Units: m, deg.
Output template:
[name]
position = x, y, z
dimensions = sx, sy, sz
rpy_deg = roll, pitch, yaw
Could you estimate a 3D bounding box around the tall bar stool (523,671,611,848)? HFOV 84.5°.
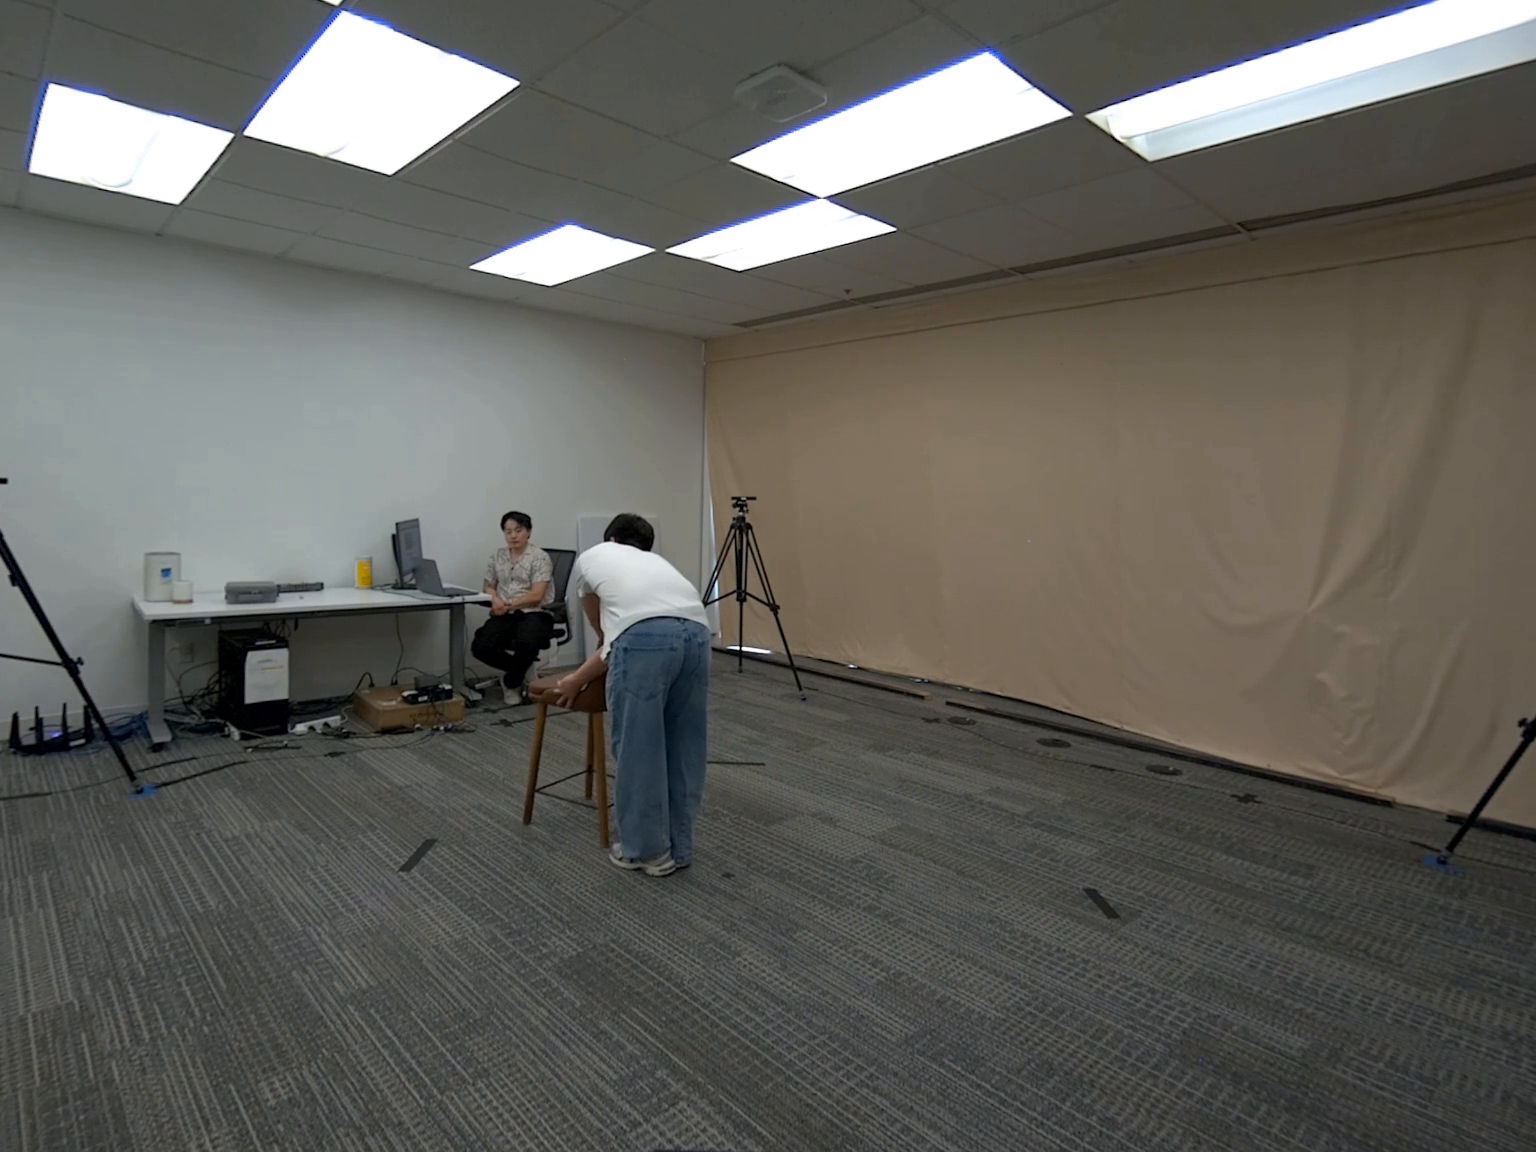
[tall bar stool]
position = -0.733, 0.612, 3.555
dimensions = 0.479, 0.886, 0.447
rpy_deg = 6, 6, 33
